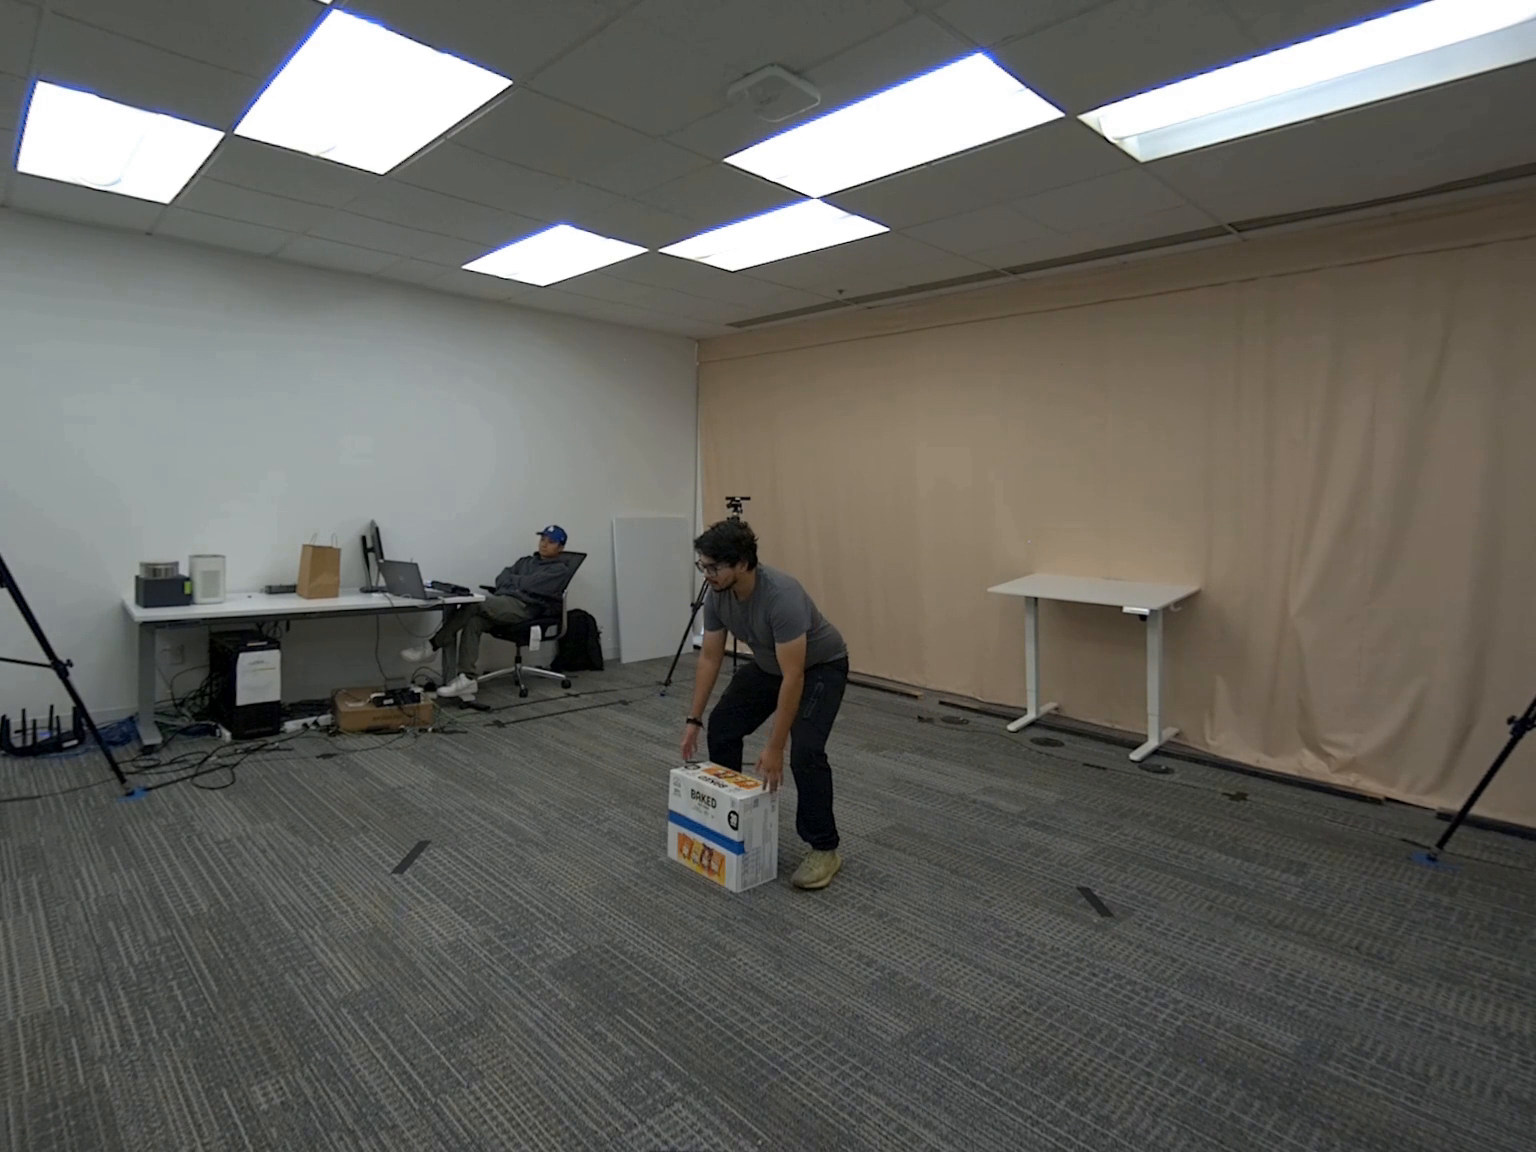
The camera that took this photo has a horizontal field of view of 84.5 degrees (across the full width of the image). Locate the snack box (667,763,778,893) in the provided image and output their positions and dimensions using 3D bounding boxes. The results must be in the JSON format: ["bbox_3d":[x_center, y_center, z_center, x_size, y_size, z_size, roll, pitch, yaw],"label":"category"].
[{"bbox_3d":[-0.177,0.931,3.167,0.201,0.339,0.416,-1,5,-43],"label":"snack box"}]
